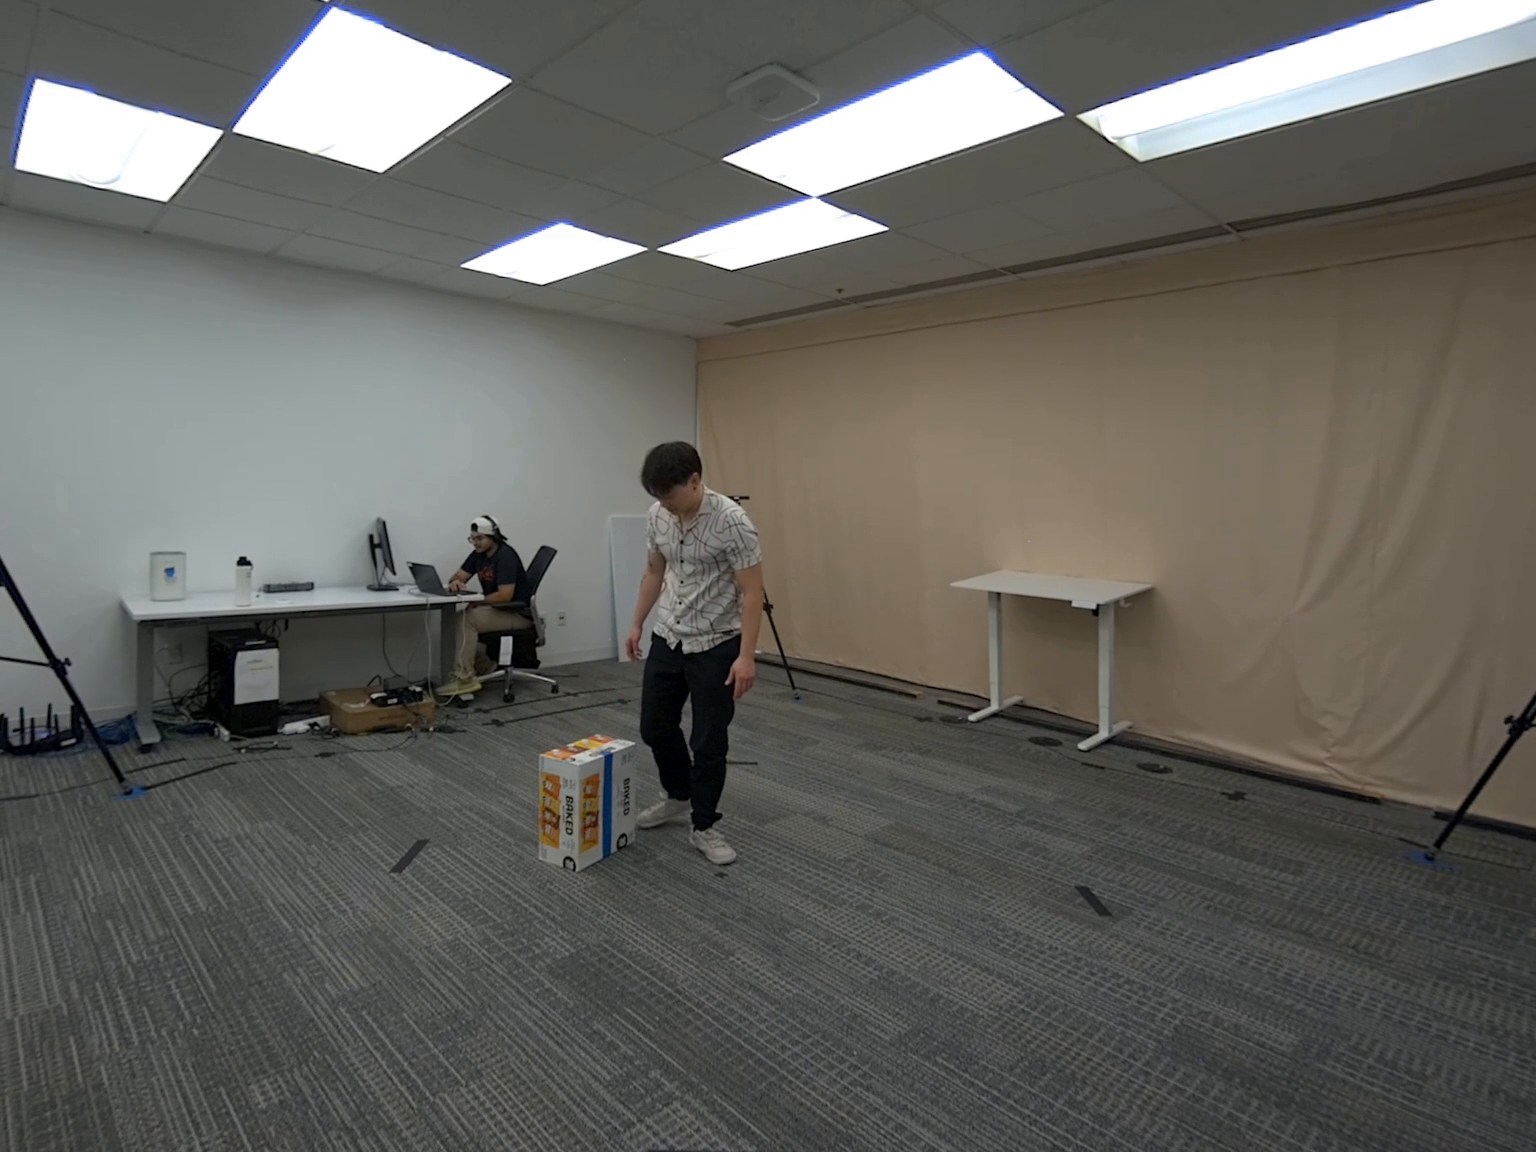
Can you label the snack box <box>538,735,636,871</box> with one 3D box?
[{"bbox_3d":[-0.708,0.873,3.275,0.210,0.404,0.334,4,4,29],"label":"snack box"}]
